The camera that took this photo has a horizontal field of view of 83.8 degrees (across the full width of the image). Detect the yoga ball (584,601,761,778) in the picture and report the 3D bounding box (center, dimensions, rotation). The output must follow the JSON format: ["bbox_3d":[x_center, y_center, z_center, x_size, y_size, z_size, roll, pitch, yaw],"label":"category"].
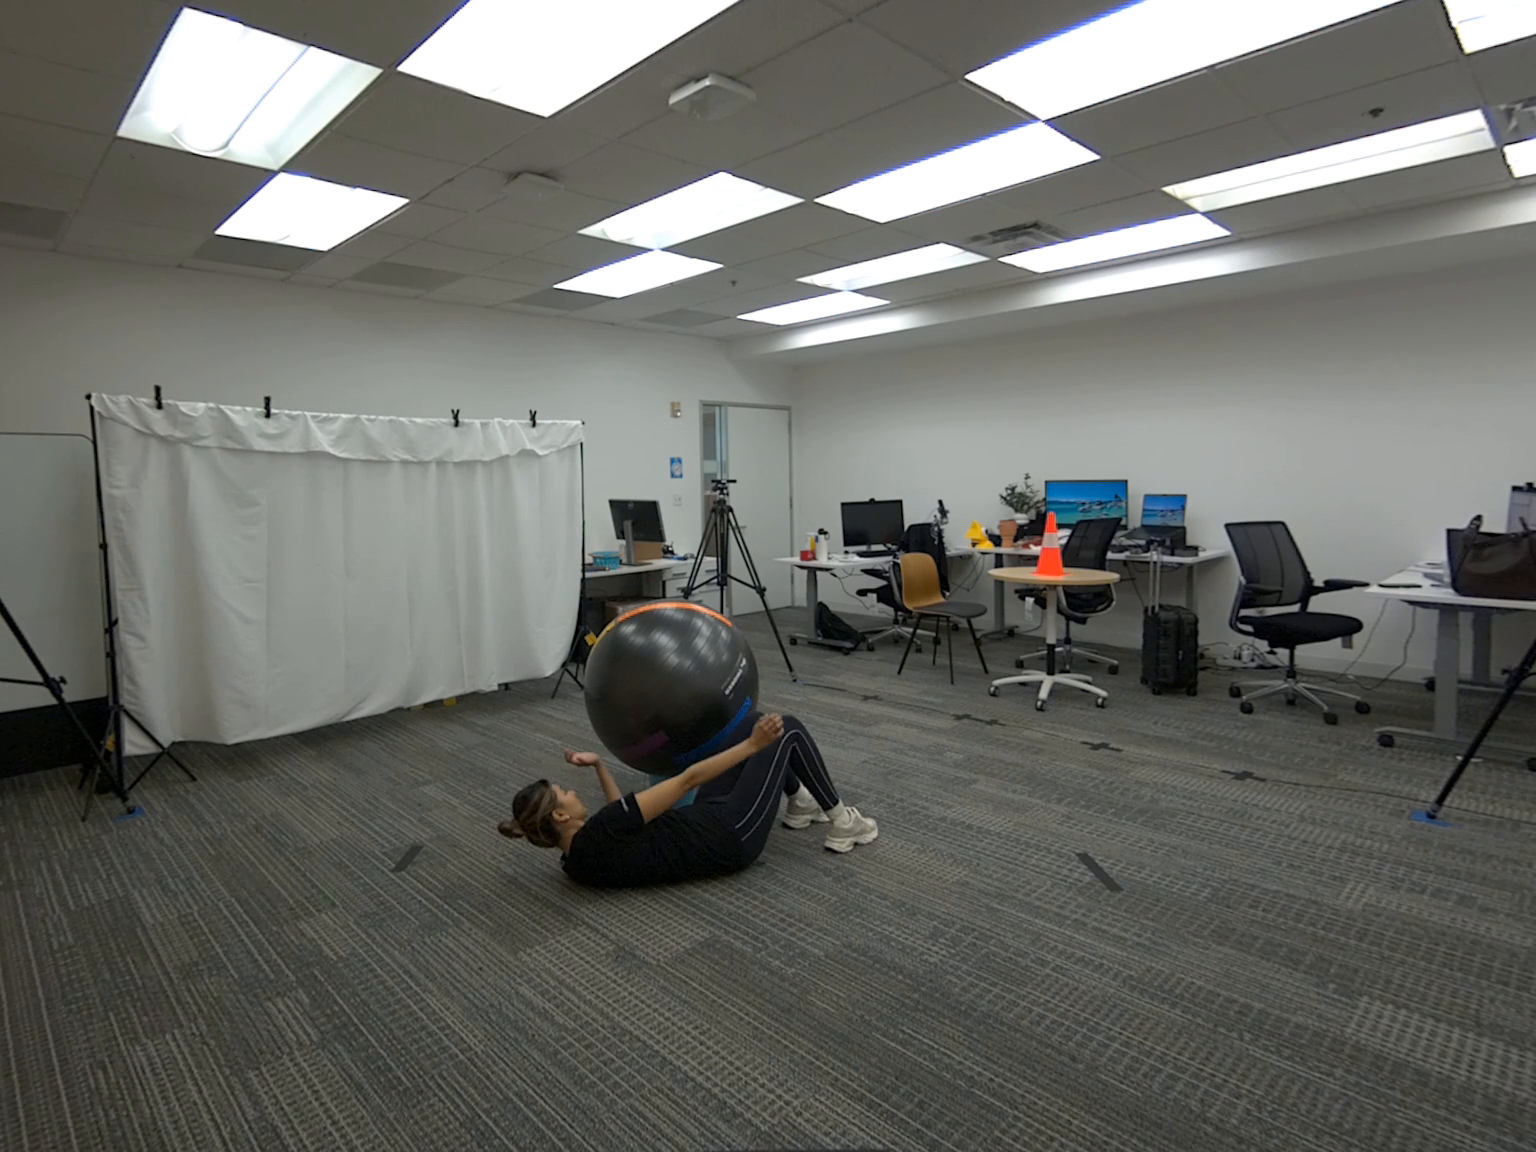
[{"bbox_3d":[-0.425,0.480,3.707,0.757,0.757,0.759,0,1,-2],"label":"yoga ball"}]
